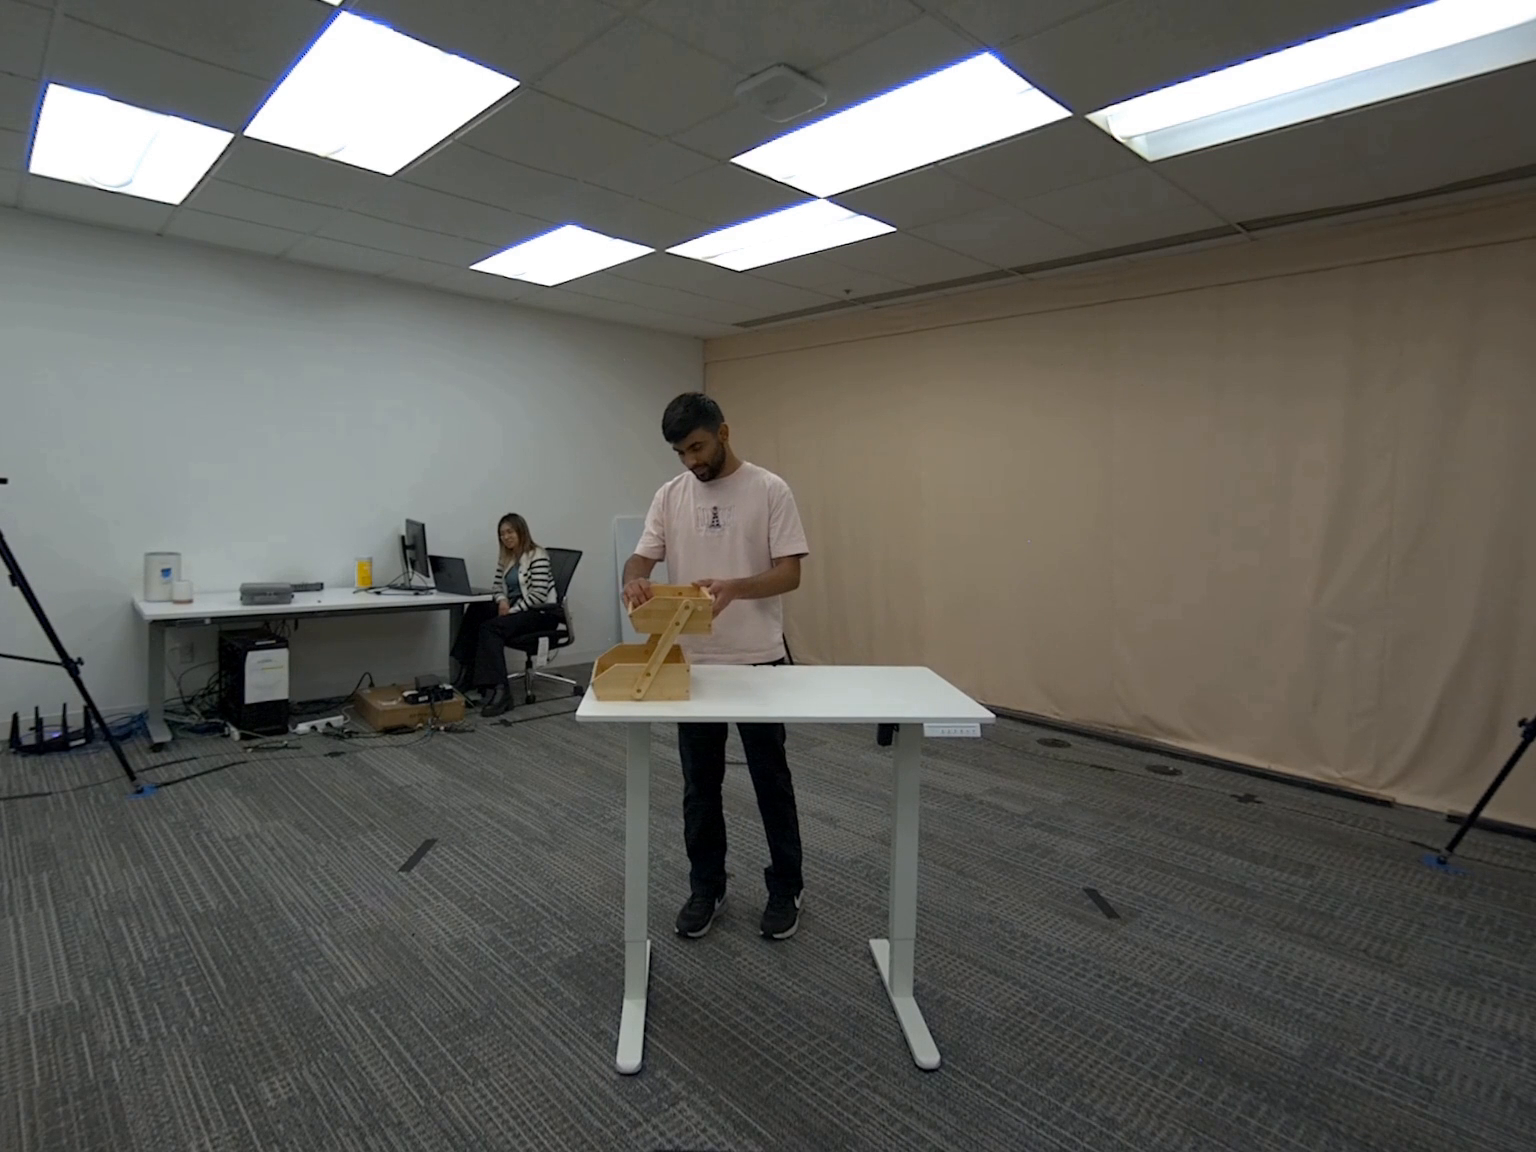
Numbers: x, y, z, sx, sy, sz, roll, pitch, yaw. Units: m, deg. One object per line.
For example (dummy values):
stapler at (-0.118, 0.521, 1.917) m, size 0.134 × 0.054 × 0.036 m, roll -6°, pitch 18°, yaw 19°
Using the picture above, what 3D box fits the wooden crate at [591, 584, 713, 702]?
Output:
wooden crate at (-0.332, 0.173, 2.237) m, size 0.300 × 0.272 × 0.327 m, roll 1°, pitch 4°, yaw -7°
